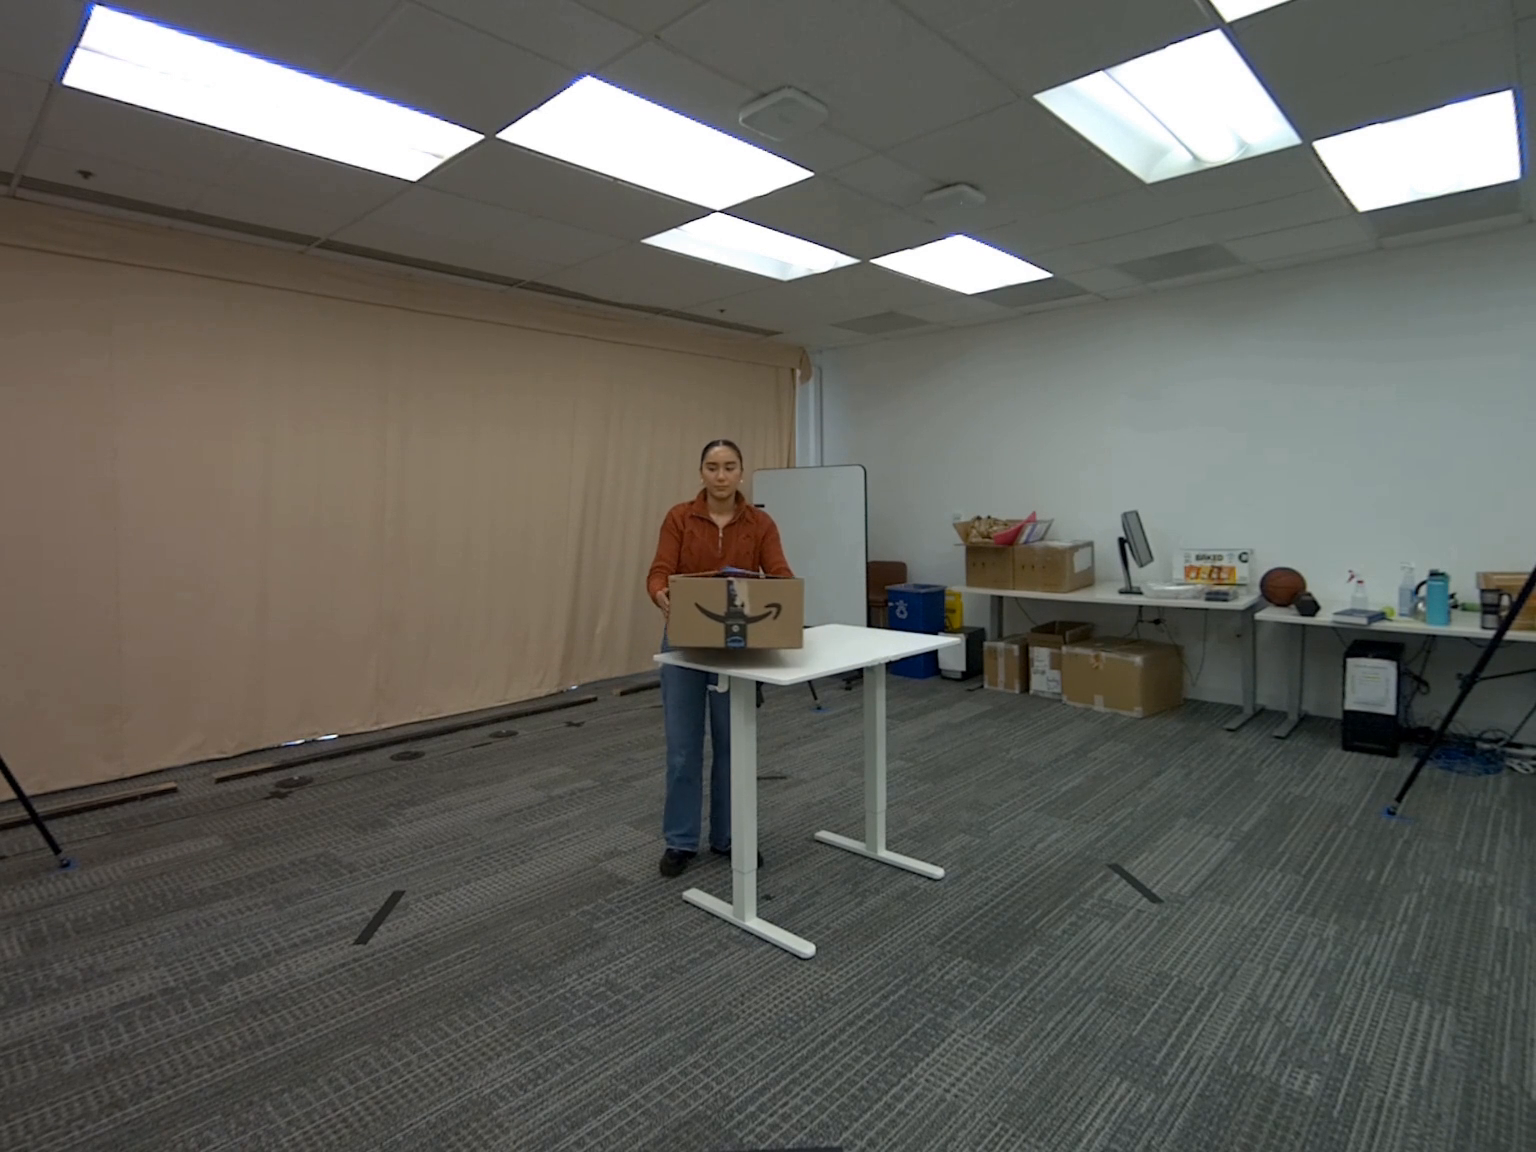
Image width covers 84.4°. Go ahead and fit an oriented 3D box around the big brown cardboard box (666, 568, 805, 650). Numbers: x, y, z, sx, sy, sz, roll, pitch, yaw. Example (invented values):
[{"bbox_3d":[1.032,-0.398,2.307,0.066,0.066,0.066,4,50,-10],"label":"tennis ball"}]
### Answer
[{"bbox_3d":[-0.132,0.107,2.860,0.415,0.233,0.594,-1,2,-8],"label":"big brown cardboard box"}]
